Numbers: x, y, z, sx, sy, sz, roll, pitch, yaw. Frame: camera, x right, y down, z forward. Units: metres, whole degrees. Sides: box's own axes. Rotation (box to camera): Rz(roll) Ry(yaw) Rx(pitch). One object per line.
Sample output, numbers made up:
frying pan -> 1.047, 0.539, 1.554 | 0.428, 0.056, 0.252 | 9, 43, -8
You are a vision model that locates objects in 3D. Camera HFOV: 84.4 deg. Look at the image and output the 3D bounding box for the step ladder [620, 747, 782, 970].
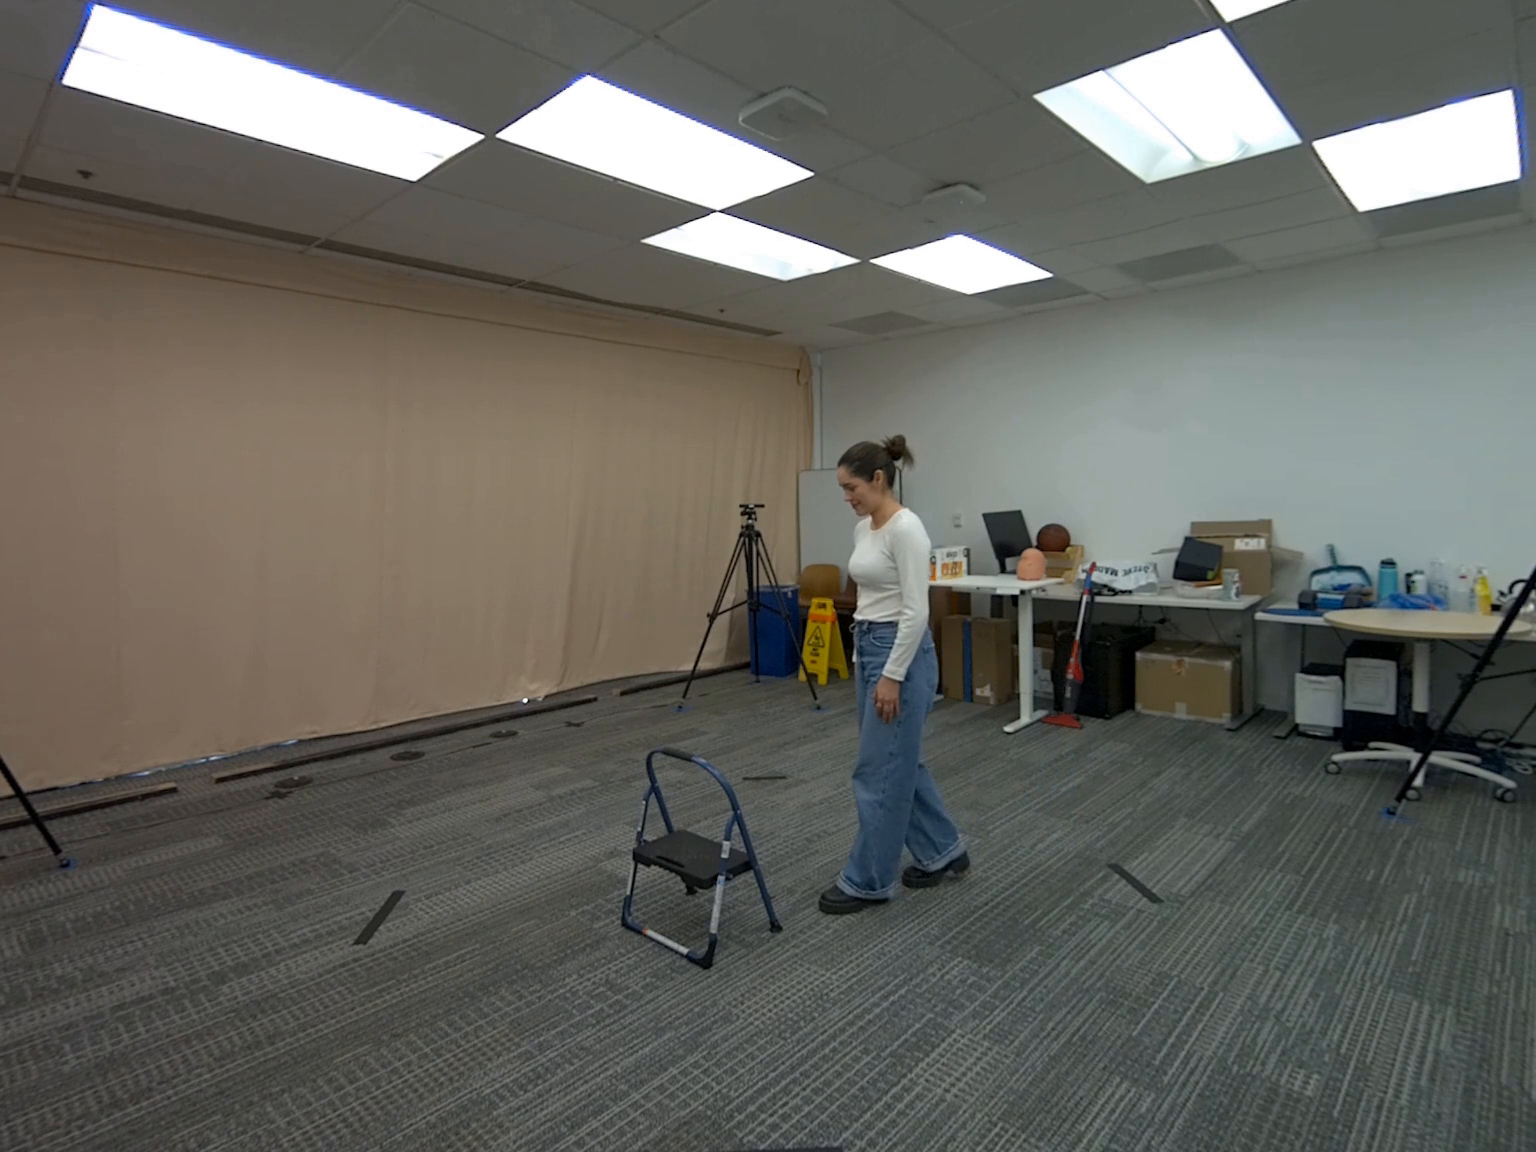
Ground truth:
step ladder -> -0.228, 0.861, 2.767 | 0.445, 0.605, 0.339 | 1, 4, 41
